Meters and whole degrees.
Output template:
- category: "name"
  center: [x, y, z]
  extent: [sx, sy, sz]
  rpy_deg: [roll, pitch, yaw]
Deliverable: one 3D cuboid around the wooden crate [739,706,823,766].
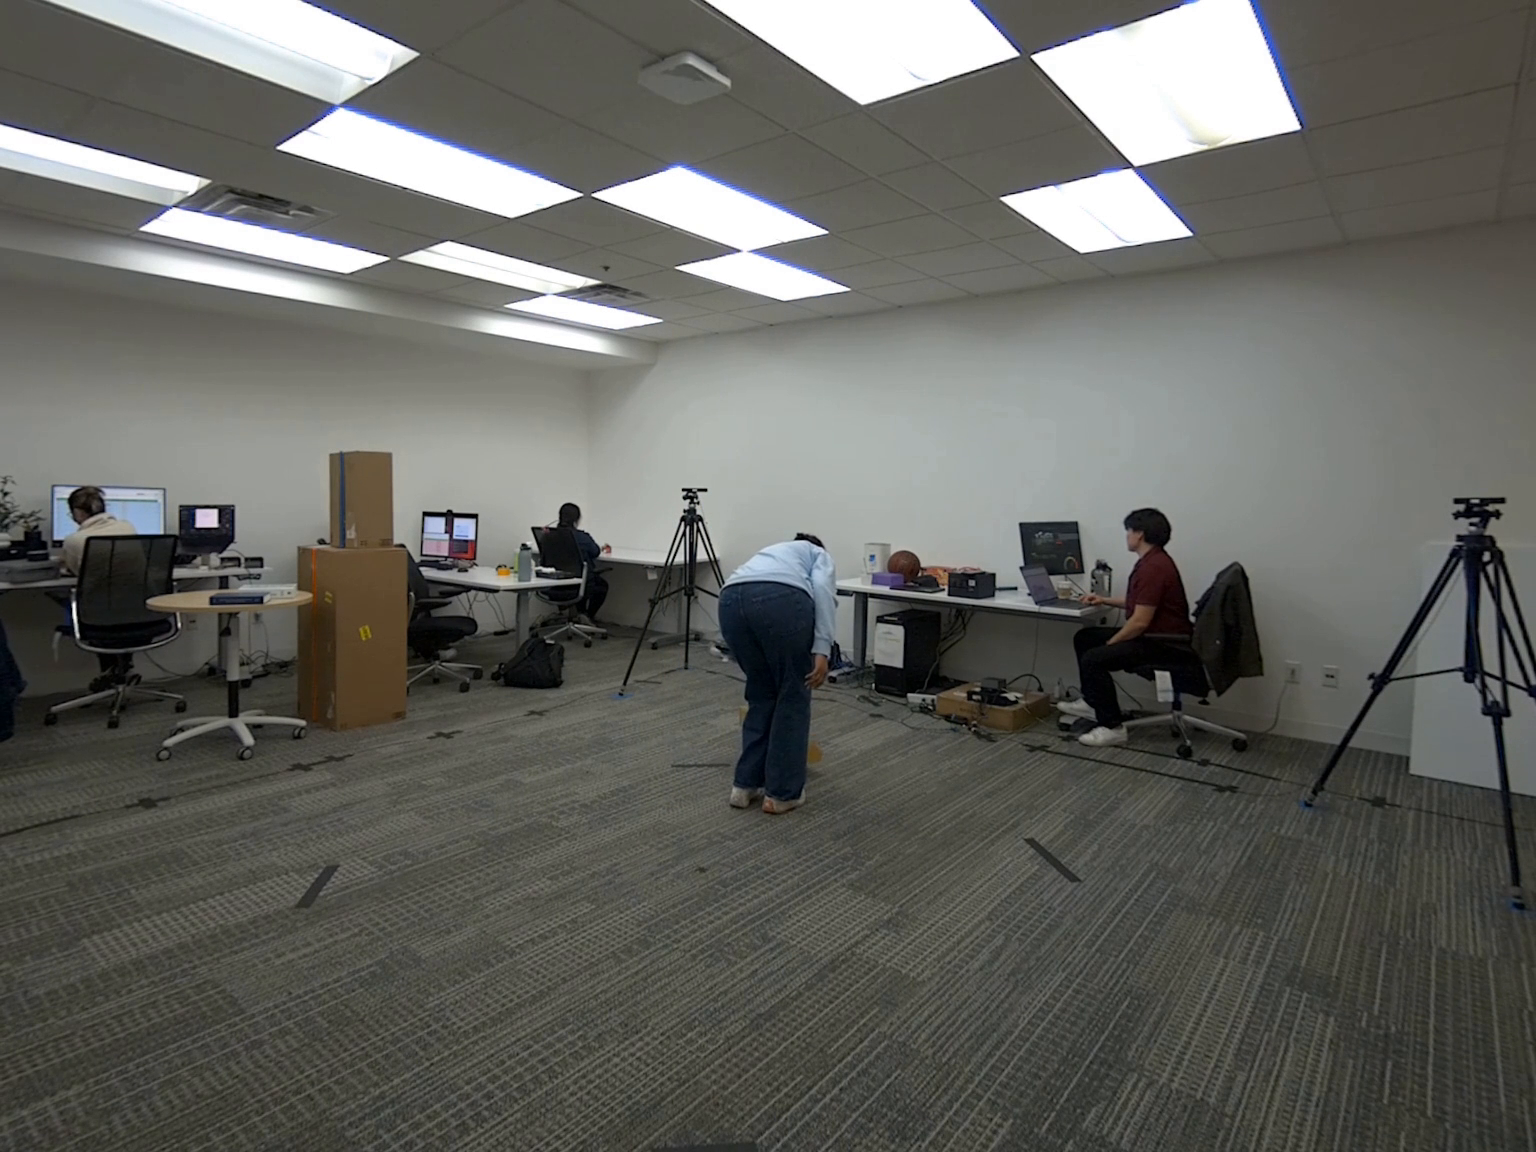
- category: "wooden crate"
  center: [0.067, 0.779, 4.268]
  extent: [0.293, 0.275, 0.332]
  rpy_deg: [3, -7, -30]
